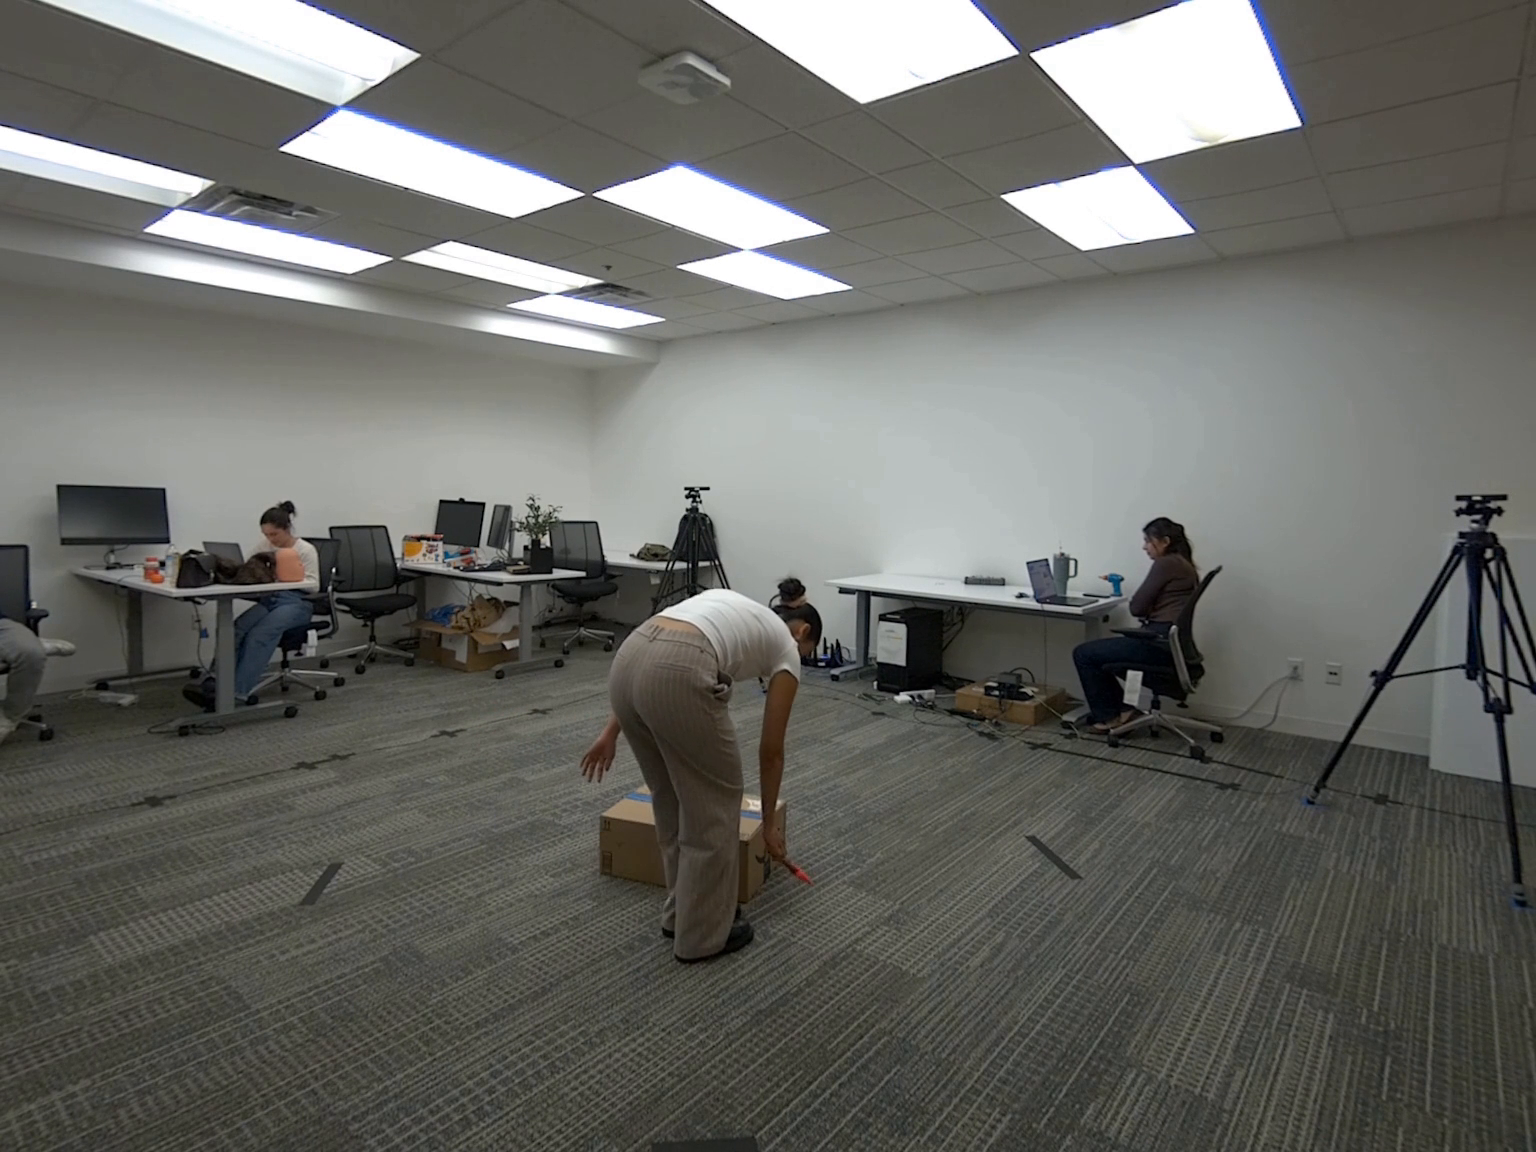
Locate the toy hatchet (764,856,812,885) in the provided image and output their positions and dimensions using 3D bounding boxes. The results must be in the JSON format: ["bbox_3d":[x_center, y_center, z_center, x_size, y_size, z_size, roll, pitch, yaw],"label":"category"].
[{"bbox_3d":[0.060,0.924,2.749,0.136,0.029,0.259,32,-17,35],"label":"toy hatchet"}]
